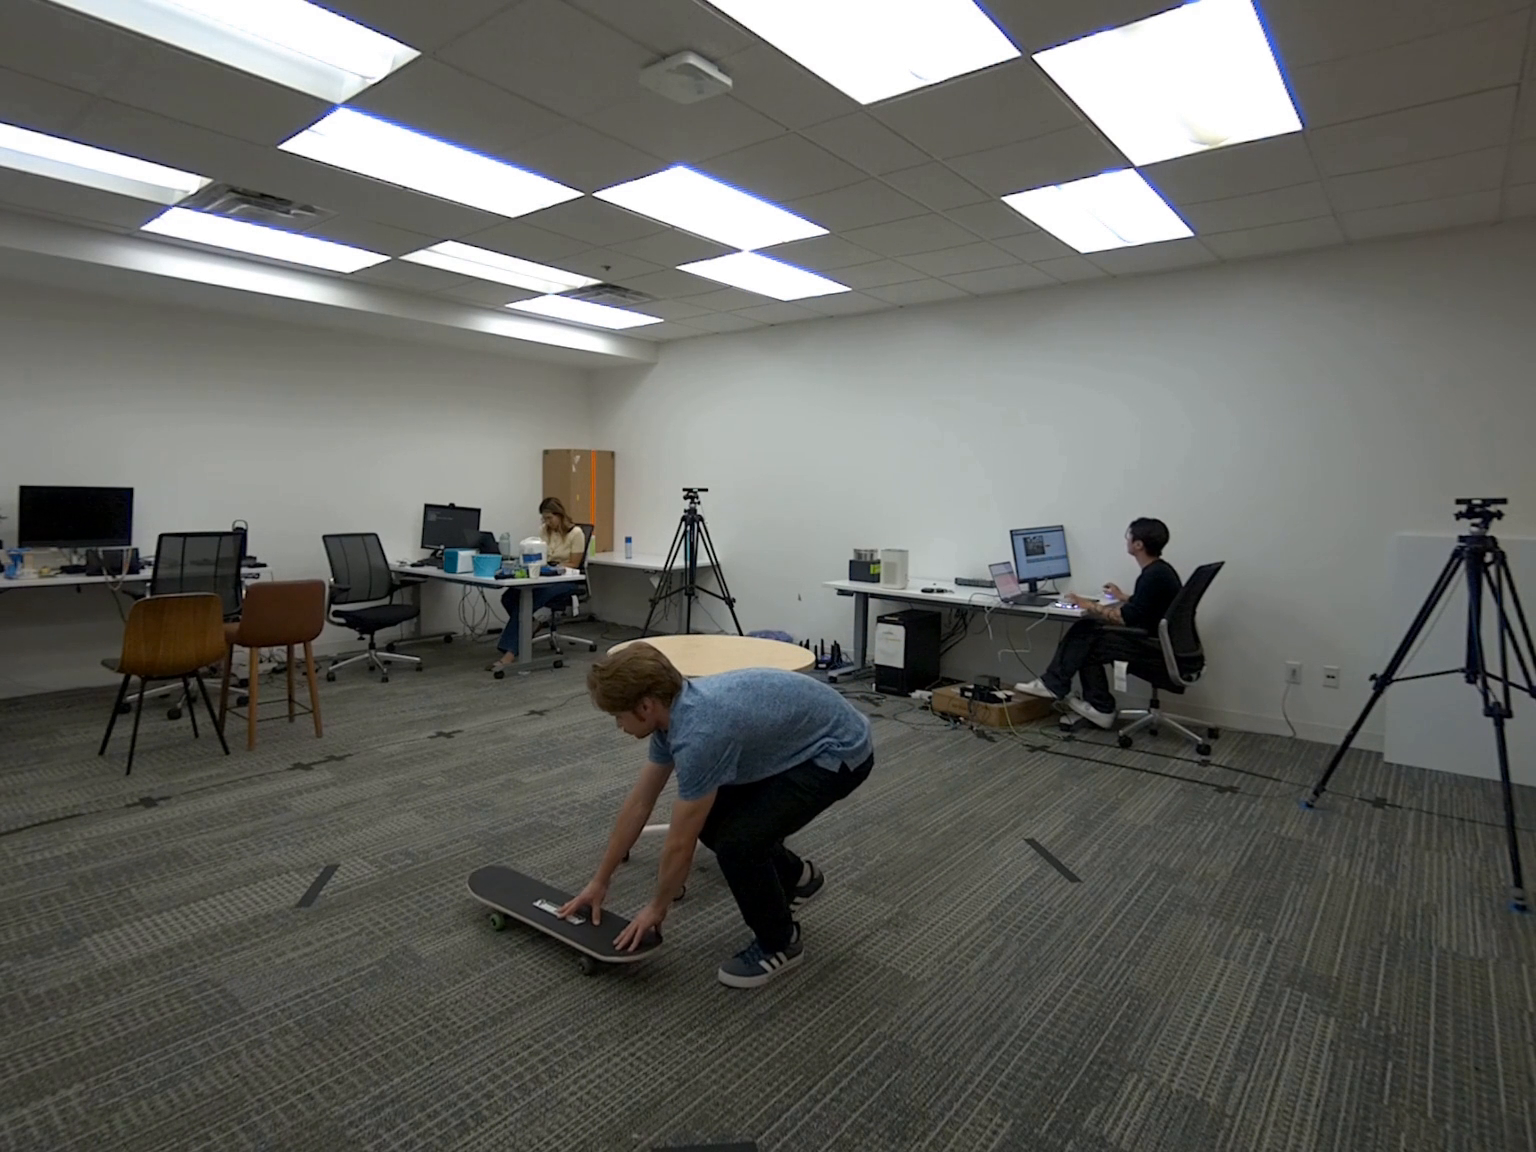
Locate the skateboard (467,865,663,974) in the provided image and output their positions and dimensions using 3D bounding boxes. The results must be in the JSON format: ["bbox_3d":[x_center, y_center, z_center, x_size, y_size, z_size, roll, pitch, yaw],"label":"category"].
[{"bbox_3d":[-0.651,1.056,2.602,0.811,0.110,0.188,6,7,36],"label":"skateboard"}]
